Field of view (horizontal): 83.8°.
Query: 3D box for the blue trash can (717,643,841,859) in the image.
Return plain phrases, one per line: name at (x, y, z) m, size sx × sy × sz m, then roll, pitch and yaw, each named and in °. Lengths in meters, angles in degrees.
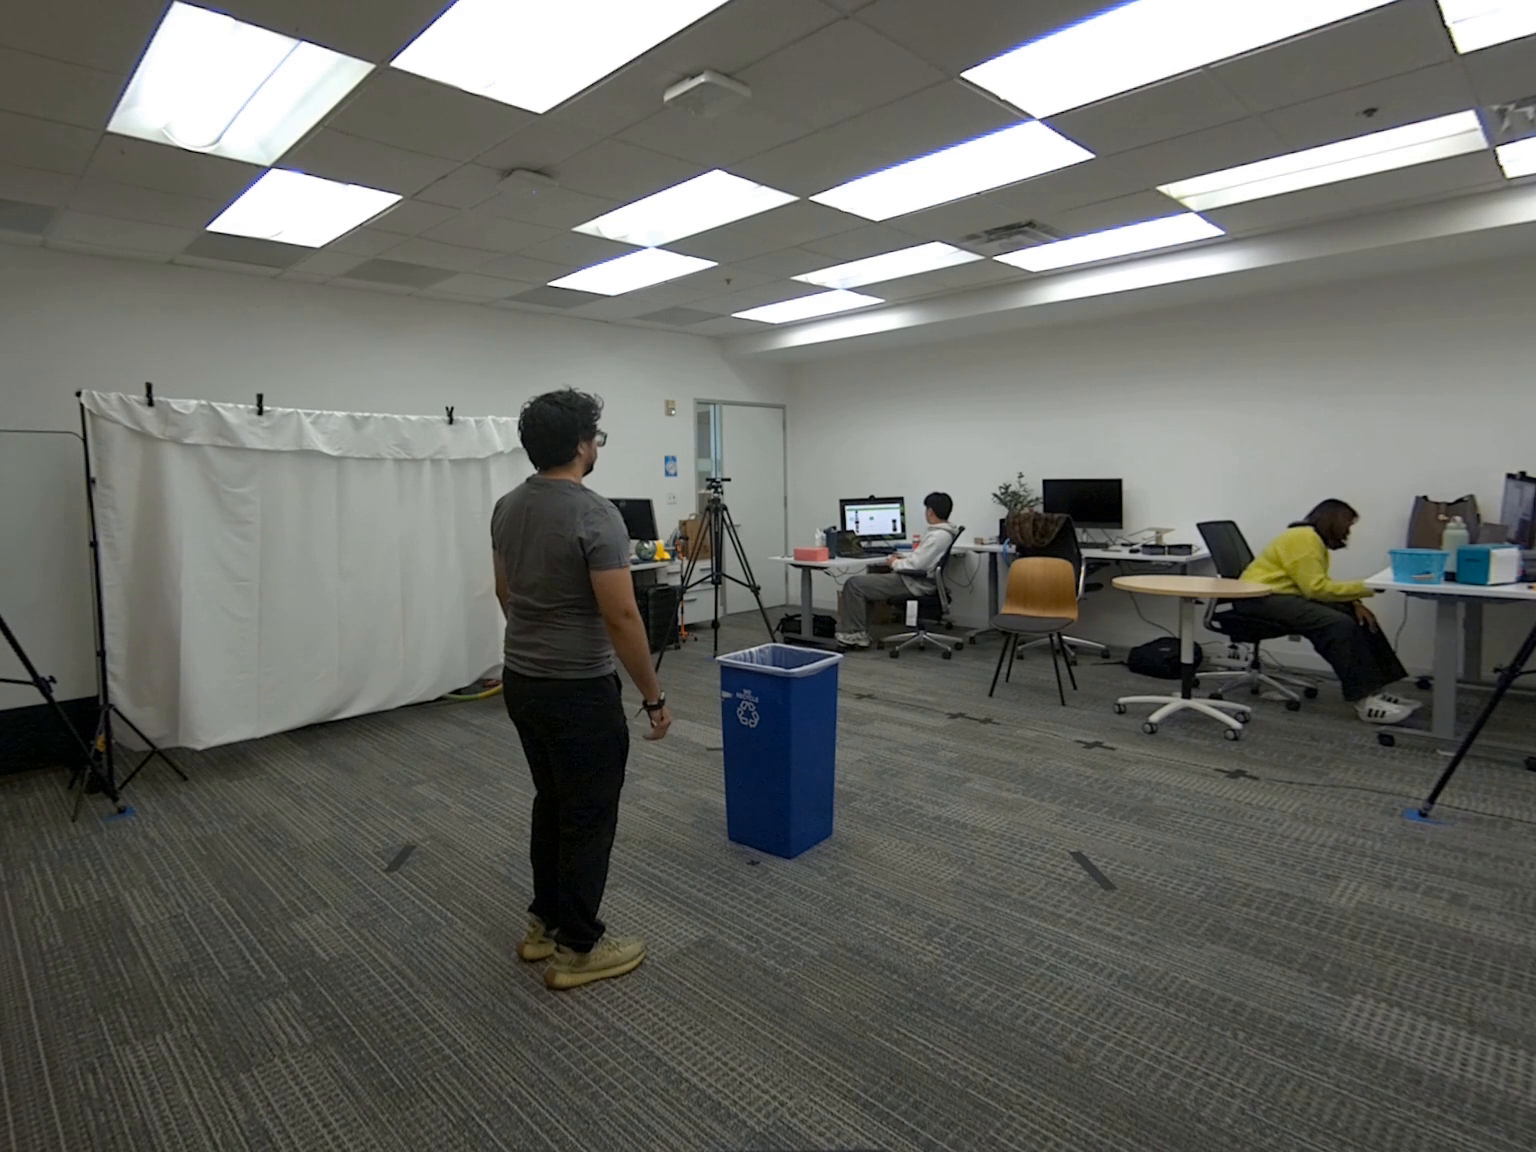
blue trash can at (0.055, 0.660, 3.303) m, size 0.385 × 0.711 × 0.368 m, roll 2°, pitch 5°, yaw 38°
